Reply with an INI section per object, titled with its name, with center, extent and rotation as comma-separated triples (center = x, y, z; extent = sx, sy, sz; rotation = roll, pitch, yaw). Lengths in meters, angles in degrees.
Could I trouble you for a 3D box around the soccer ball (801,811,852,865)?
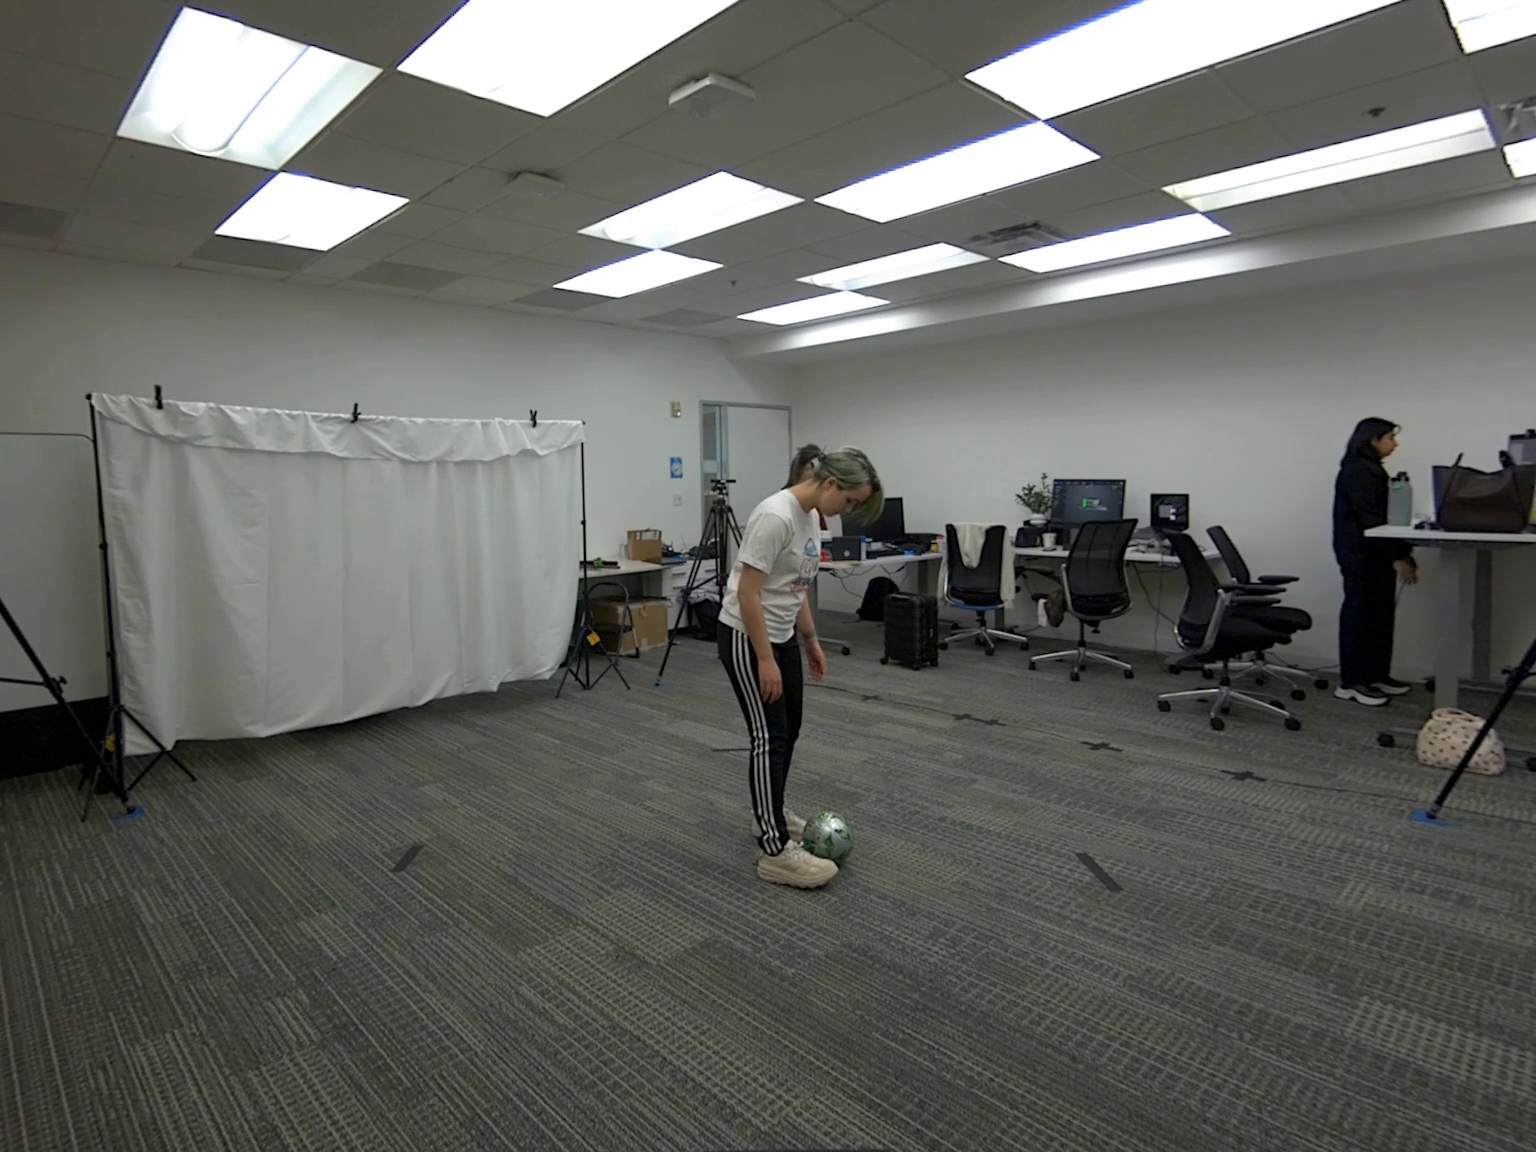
[soccer ball]
center = 0.221, 0.951, 3.095
extent = 0.187, 0.187, 0.188
rotation = -1, 5, -2
